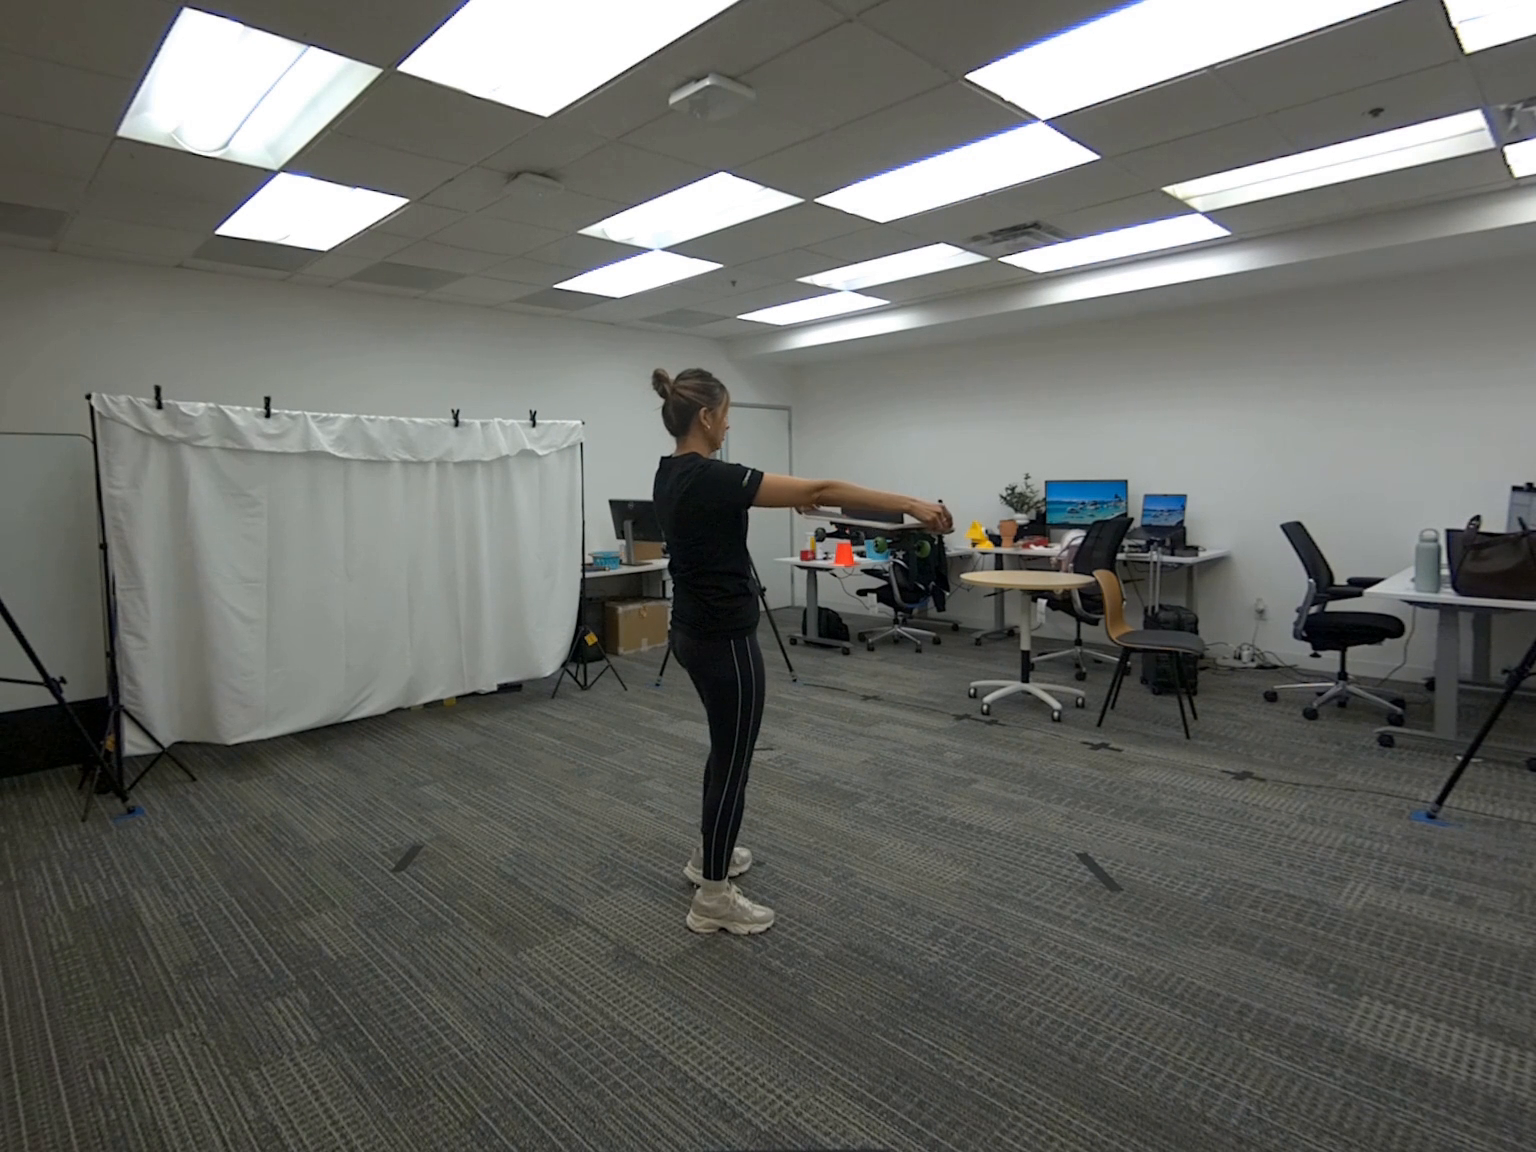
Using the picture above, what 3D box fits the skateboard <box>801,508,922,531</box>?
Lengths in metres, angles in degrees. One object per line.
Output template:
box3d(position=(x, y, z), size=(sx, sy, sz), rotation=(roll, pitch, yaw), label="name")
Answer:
box3d(position=(0.330, -0.143, 2.814), size=(0.189, 0.110, 0.805), rotation=(4, 7, -23), label="skateboard")
